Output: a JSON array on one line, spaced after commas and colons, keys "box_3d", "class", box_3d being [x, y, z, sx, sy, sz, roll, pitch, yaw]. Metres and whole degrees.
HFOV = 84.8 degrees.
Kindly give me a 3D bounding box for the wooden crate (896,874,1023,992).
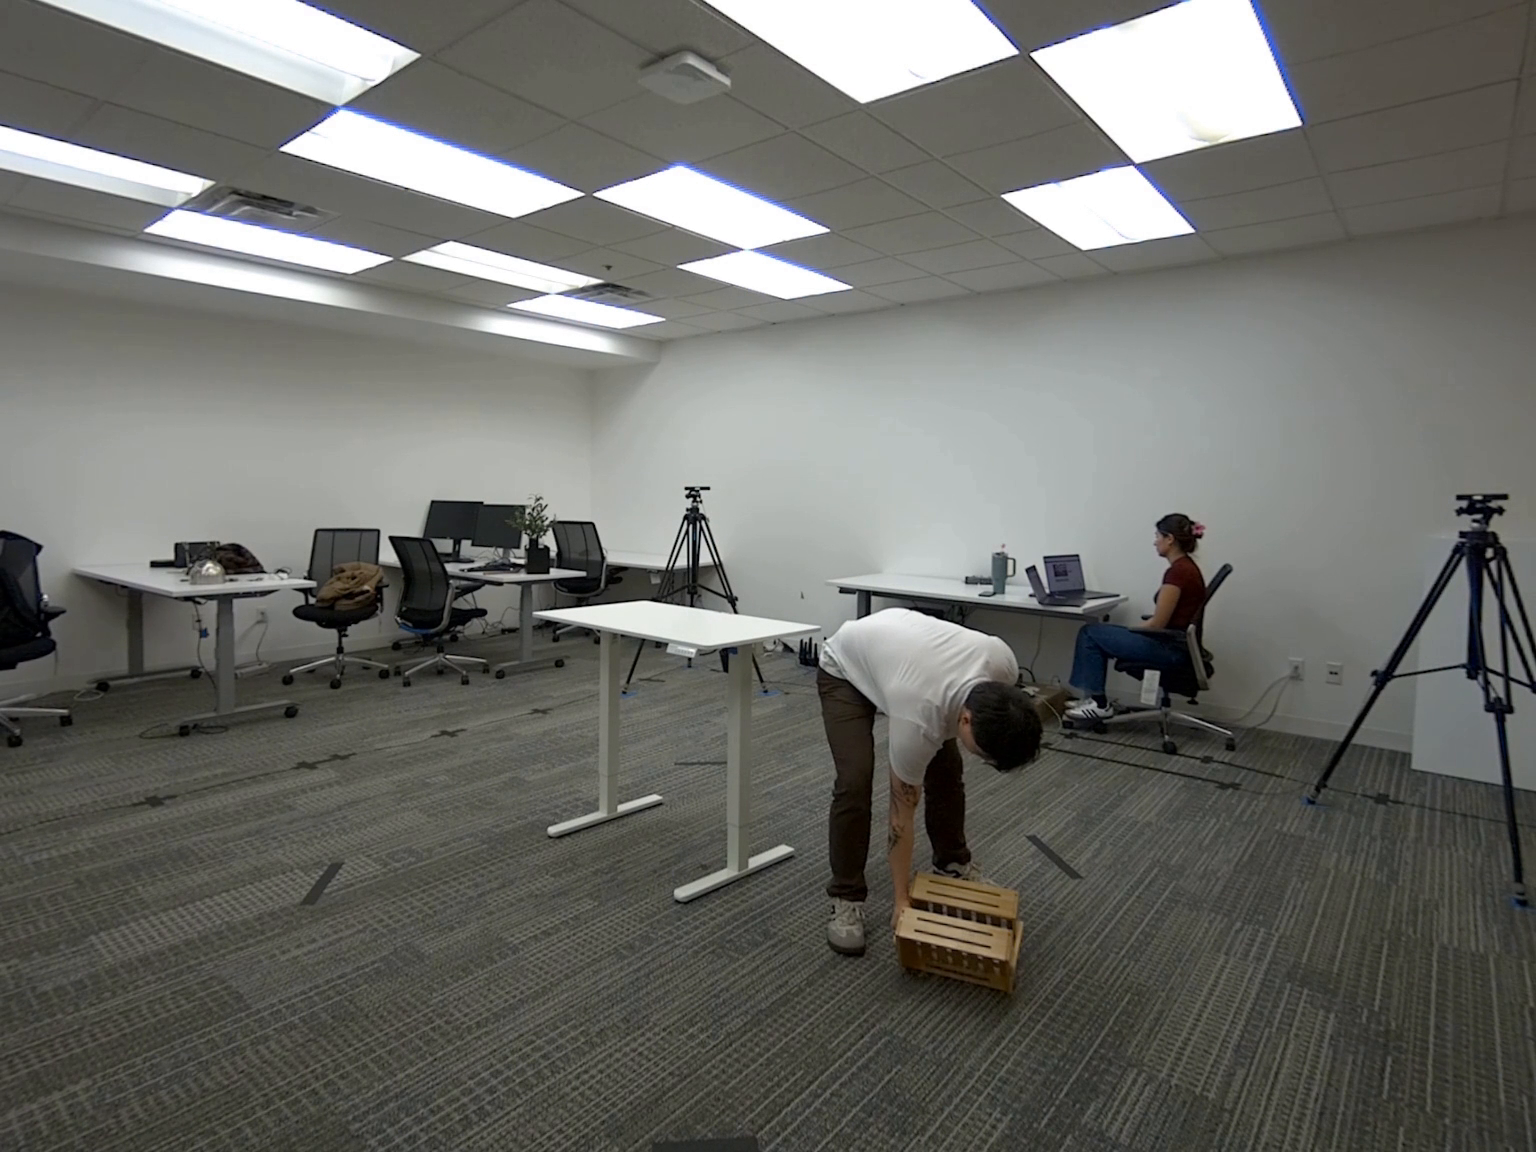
[{"box_3d": [0.544, 1.057, 2.460, 0.333, 0.293, 0.274, 4, 32, 24], "class": "wooden crate"}]
